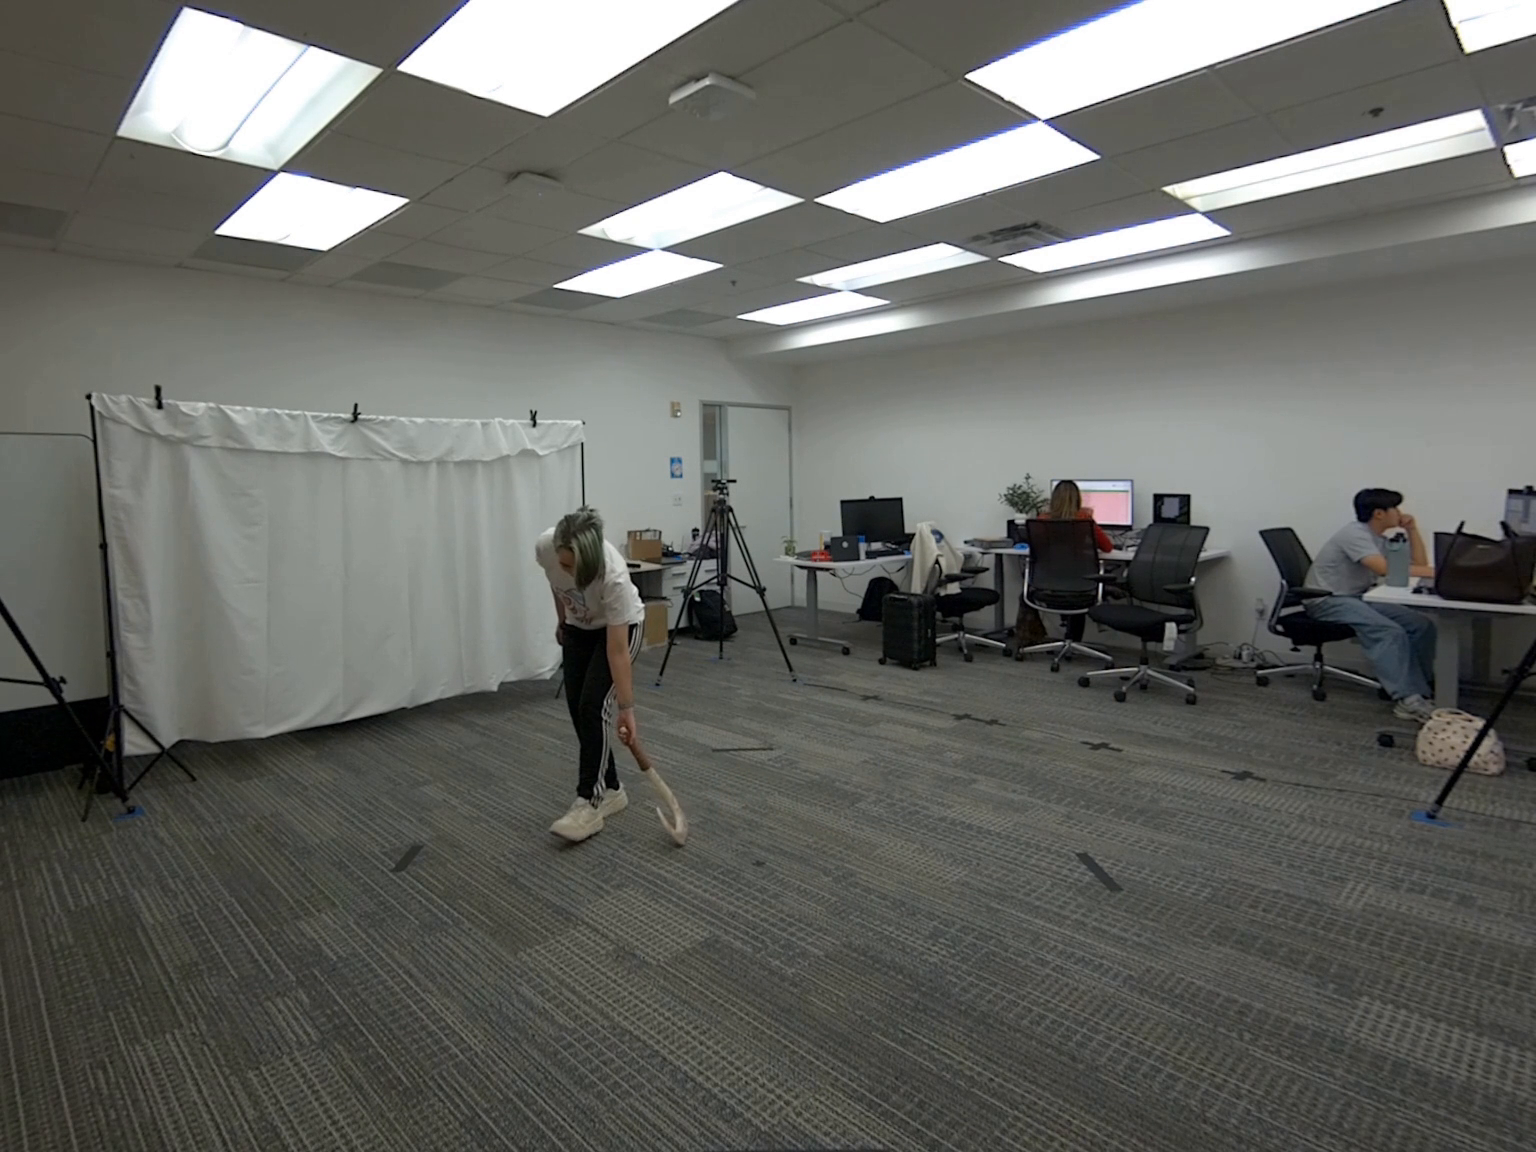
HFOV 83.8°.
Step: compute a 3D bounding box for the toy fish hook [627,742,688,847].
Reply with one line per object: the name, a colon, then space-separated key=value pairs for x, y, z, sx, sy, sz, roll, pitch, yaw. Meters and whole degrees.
toy fish hook: x=-0.437 y=0.805 z=3.288 sx=0.048 sy=0.502 sz=0.226 roll=-30 pitch=7 yaw=3
